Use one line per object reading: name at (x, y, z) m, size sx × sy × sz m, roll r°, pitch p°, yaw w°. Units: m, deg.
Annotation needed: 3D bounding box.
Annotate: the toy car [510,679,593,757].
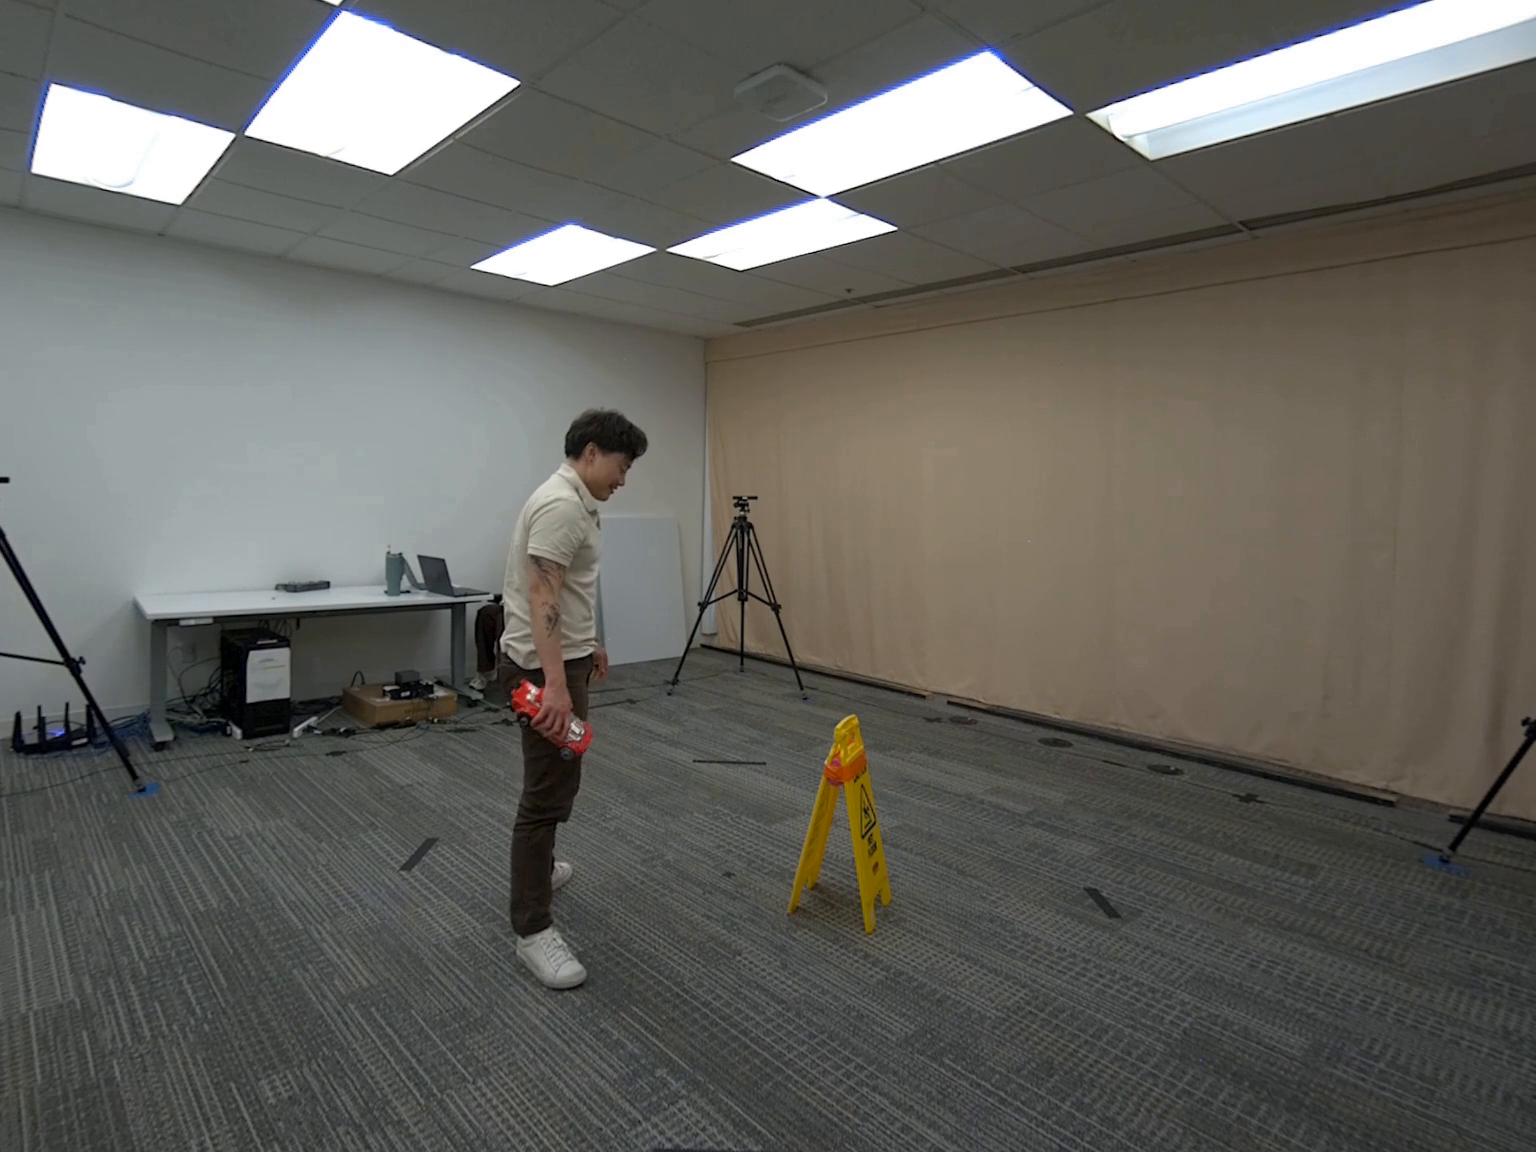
toy car at (-0.612, 0.391, 2.297) m, size 0.083 × 0.252 × 0.131 m, roll -38°, pitch 12°, yaw 26°
